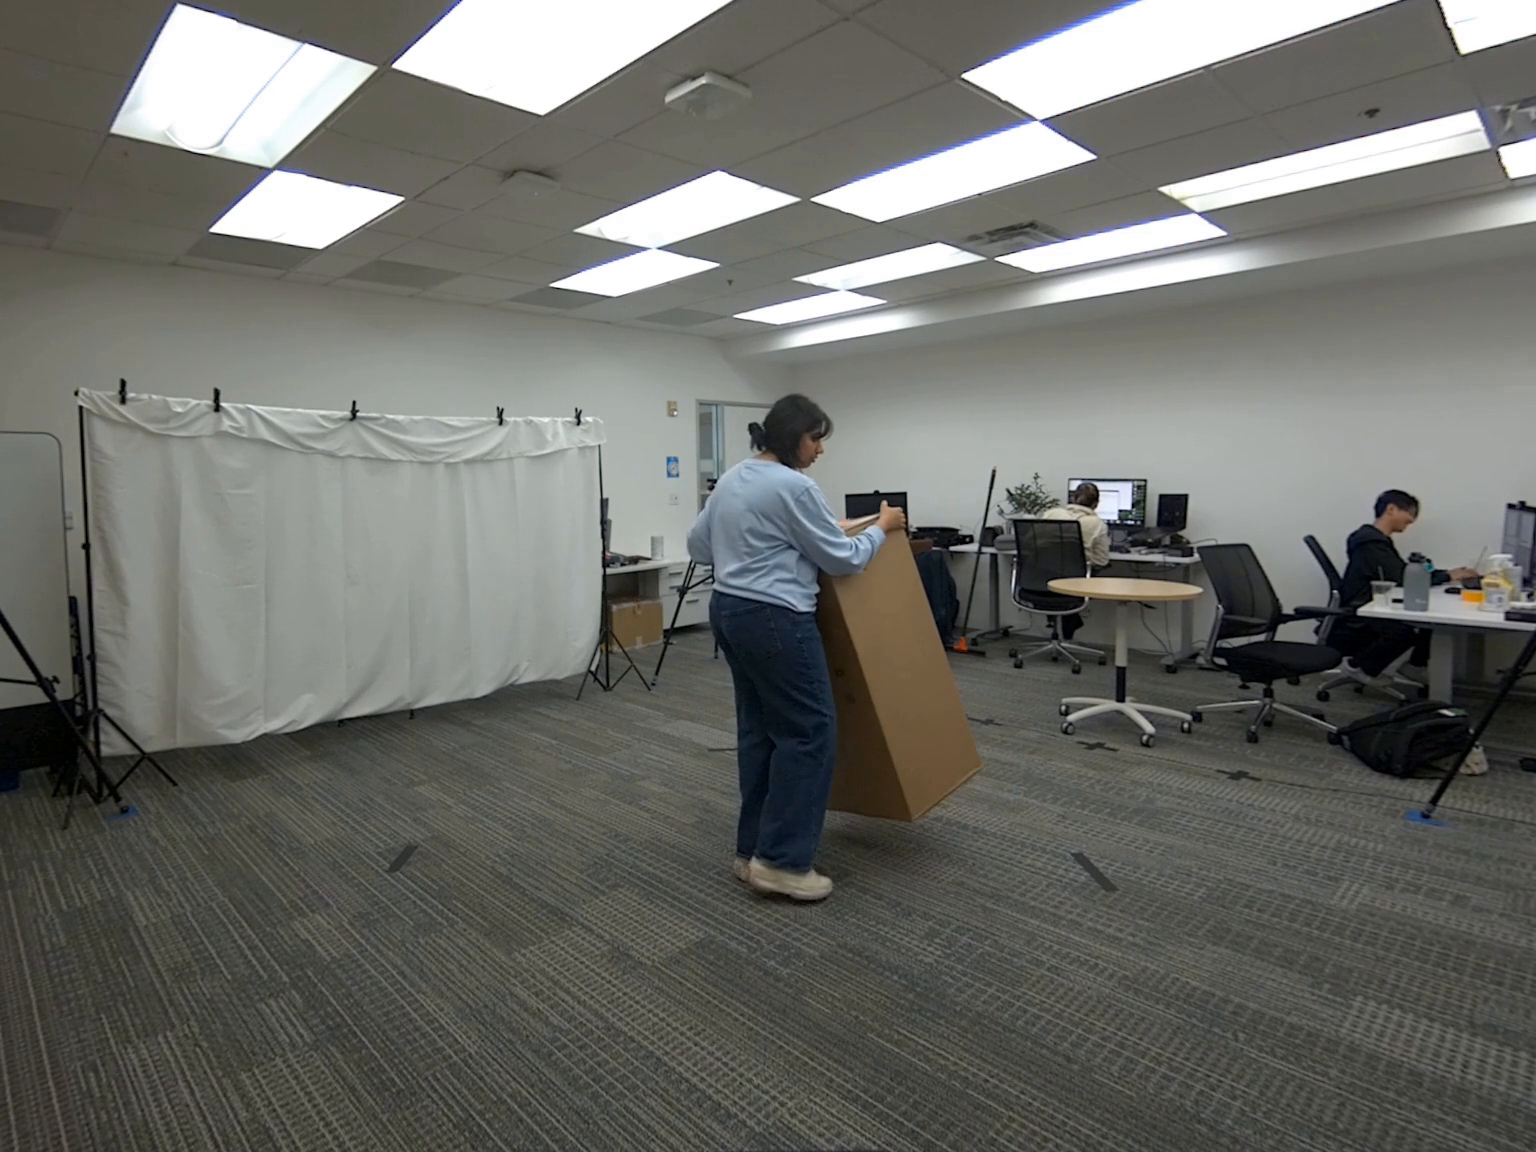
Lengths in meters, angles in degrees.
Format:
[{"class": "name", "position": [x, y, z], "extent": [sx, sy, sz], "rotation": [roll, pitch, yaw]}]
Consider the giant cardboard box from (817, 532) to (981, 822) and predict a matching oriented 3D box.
[{"class": "giant cardboard box", "position": [0.318, 0.336, 3.262], "extent": [0.439, 1.024, 0.596], "rotation": [-20, 3, -37]}]
